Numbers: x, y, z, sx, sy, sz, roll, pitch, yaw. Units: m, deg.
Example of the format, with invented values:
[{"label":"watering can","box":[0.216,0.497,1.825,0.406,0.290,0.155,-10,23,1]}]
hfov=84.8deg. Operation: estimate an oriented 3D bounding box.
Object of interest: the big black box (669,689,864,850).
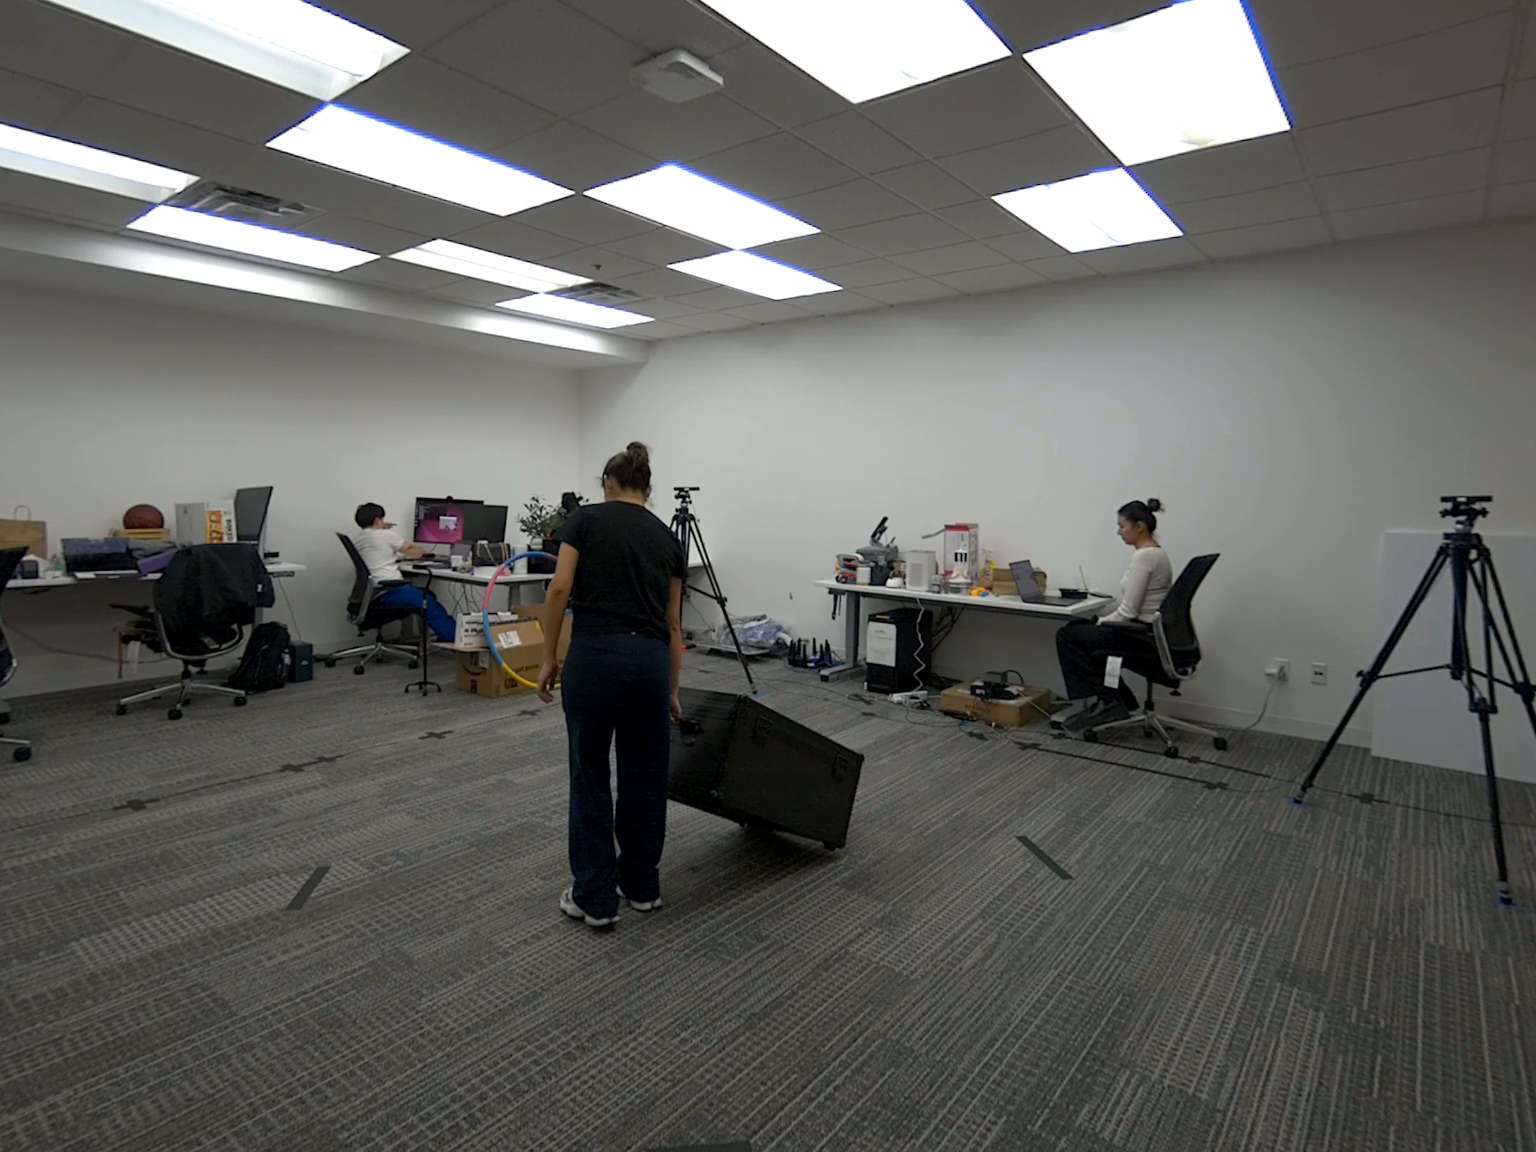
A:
[{"label":"big black box","box":[-0.082,0.707,3.186,0.537,0.400,0.826,-1,-25,43]}]
